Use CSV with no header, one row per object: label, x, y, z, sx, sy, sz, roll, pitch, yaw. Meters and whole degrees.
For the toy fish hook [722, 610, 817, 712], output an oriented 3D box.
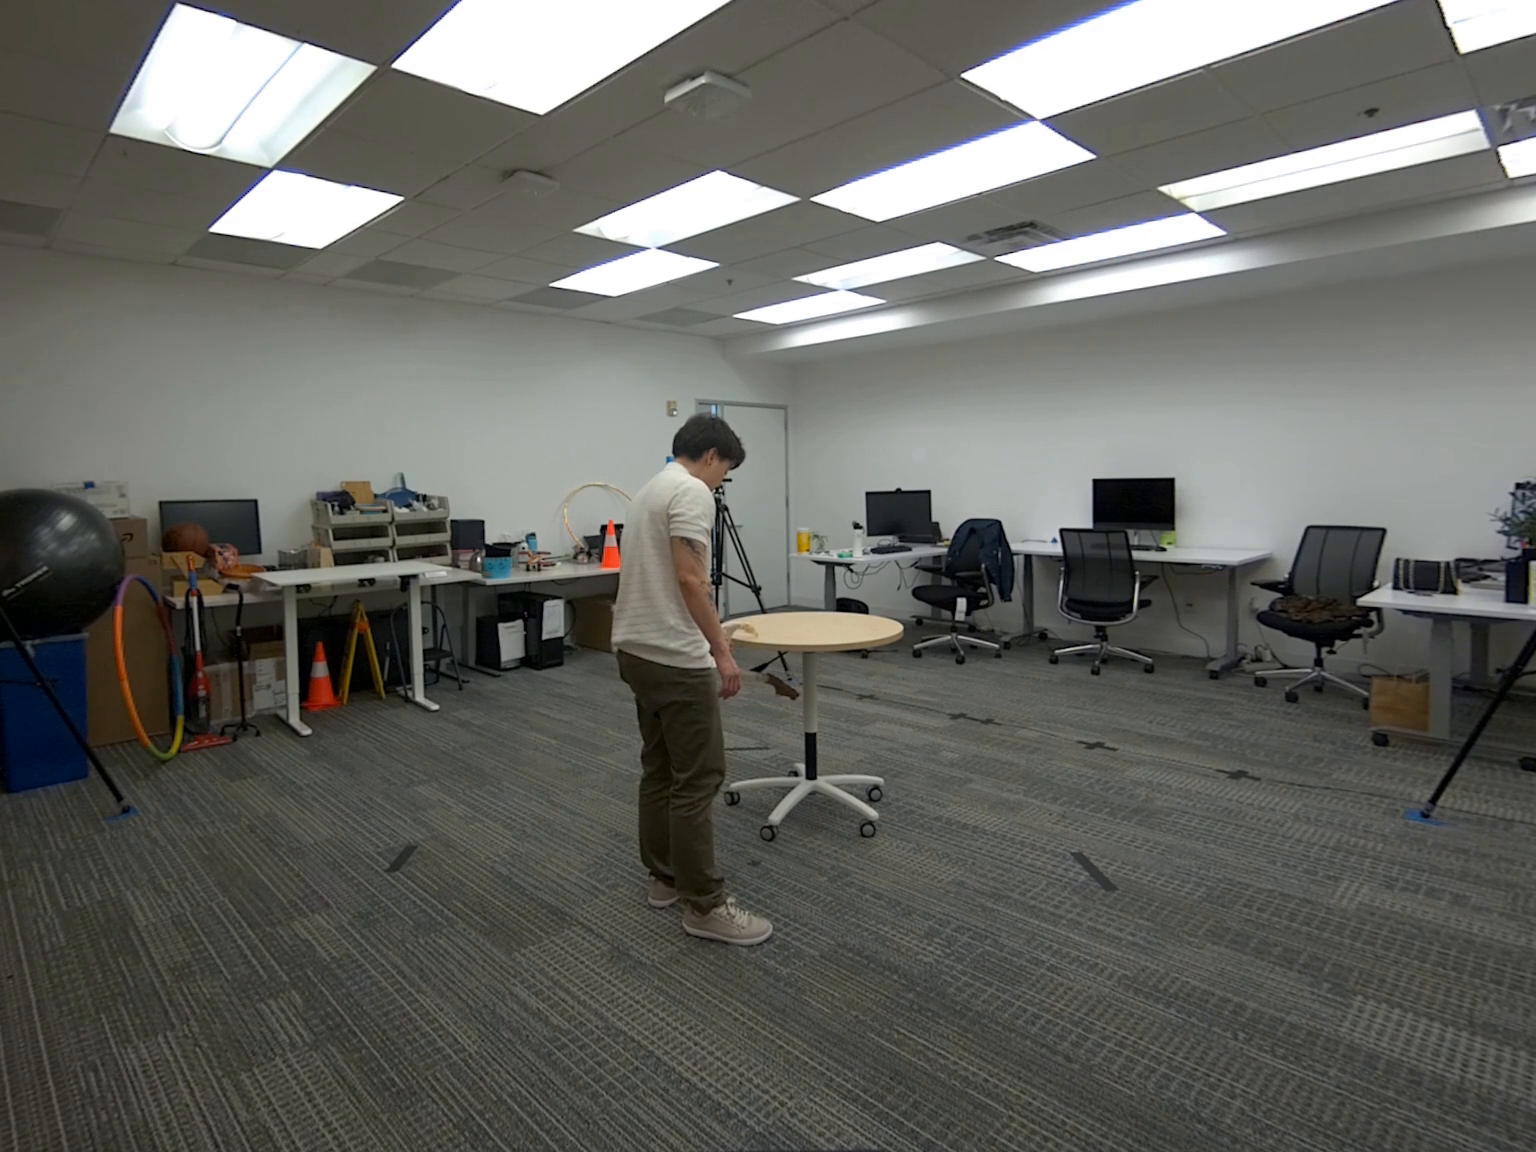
toy fish hook,-0.018,0.337,3.344,0.050,0.226,0.487,2,-23,47
